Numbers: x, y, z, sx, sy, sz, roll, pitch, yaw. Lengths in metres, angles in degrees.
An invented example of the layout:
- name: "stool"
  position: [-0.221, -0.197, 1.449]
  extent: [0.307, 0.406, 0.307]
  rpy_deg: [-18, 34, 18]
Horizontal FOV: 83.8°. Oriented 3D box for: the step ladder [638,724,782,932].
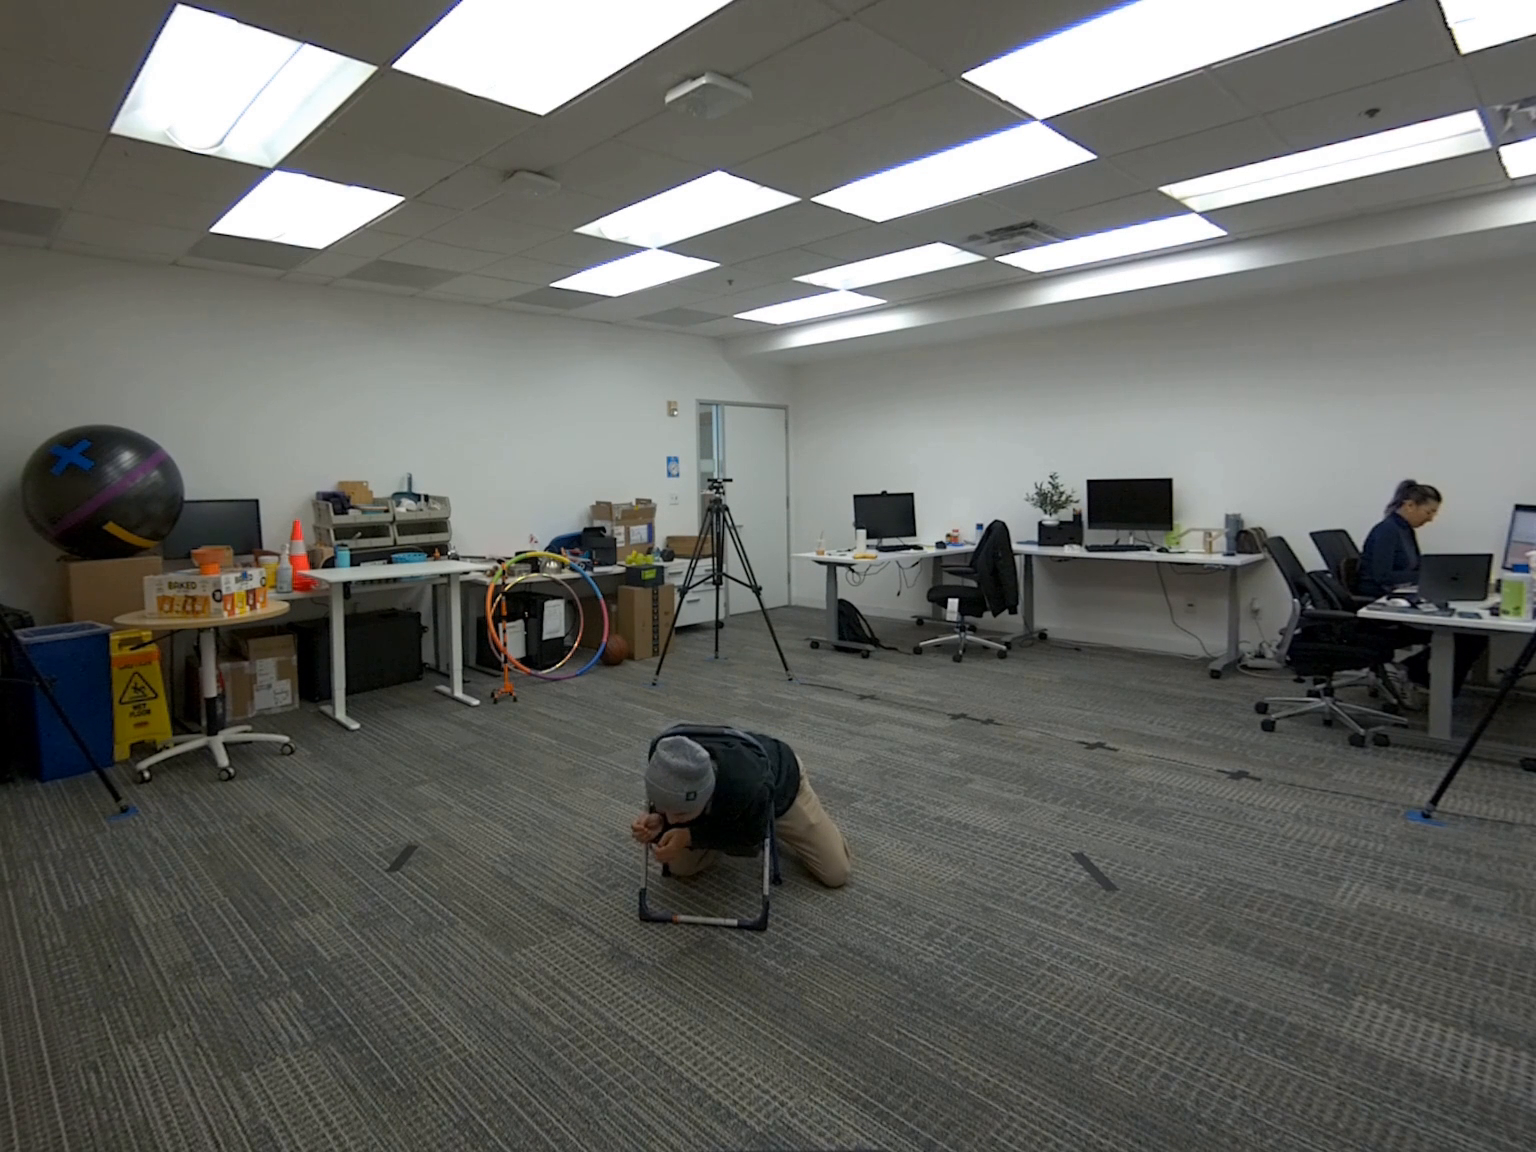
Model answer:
- name: "step ladder"
  position: [-0.181, 0.784, 2.812]
  extent: [0.436, 0.603, 0.346]
  rpy_deg: [2, 5, 12]
